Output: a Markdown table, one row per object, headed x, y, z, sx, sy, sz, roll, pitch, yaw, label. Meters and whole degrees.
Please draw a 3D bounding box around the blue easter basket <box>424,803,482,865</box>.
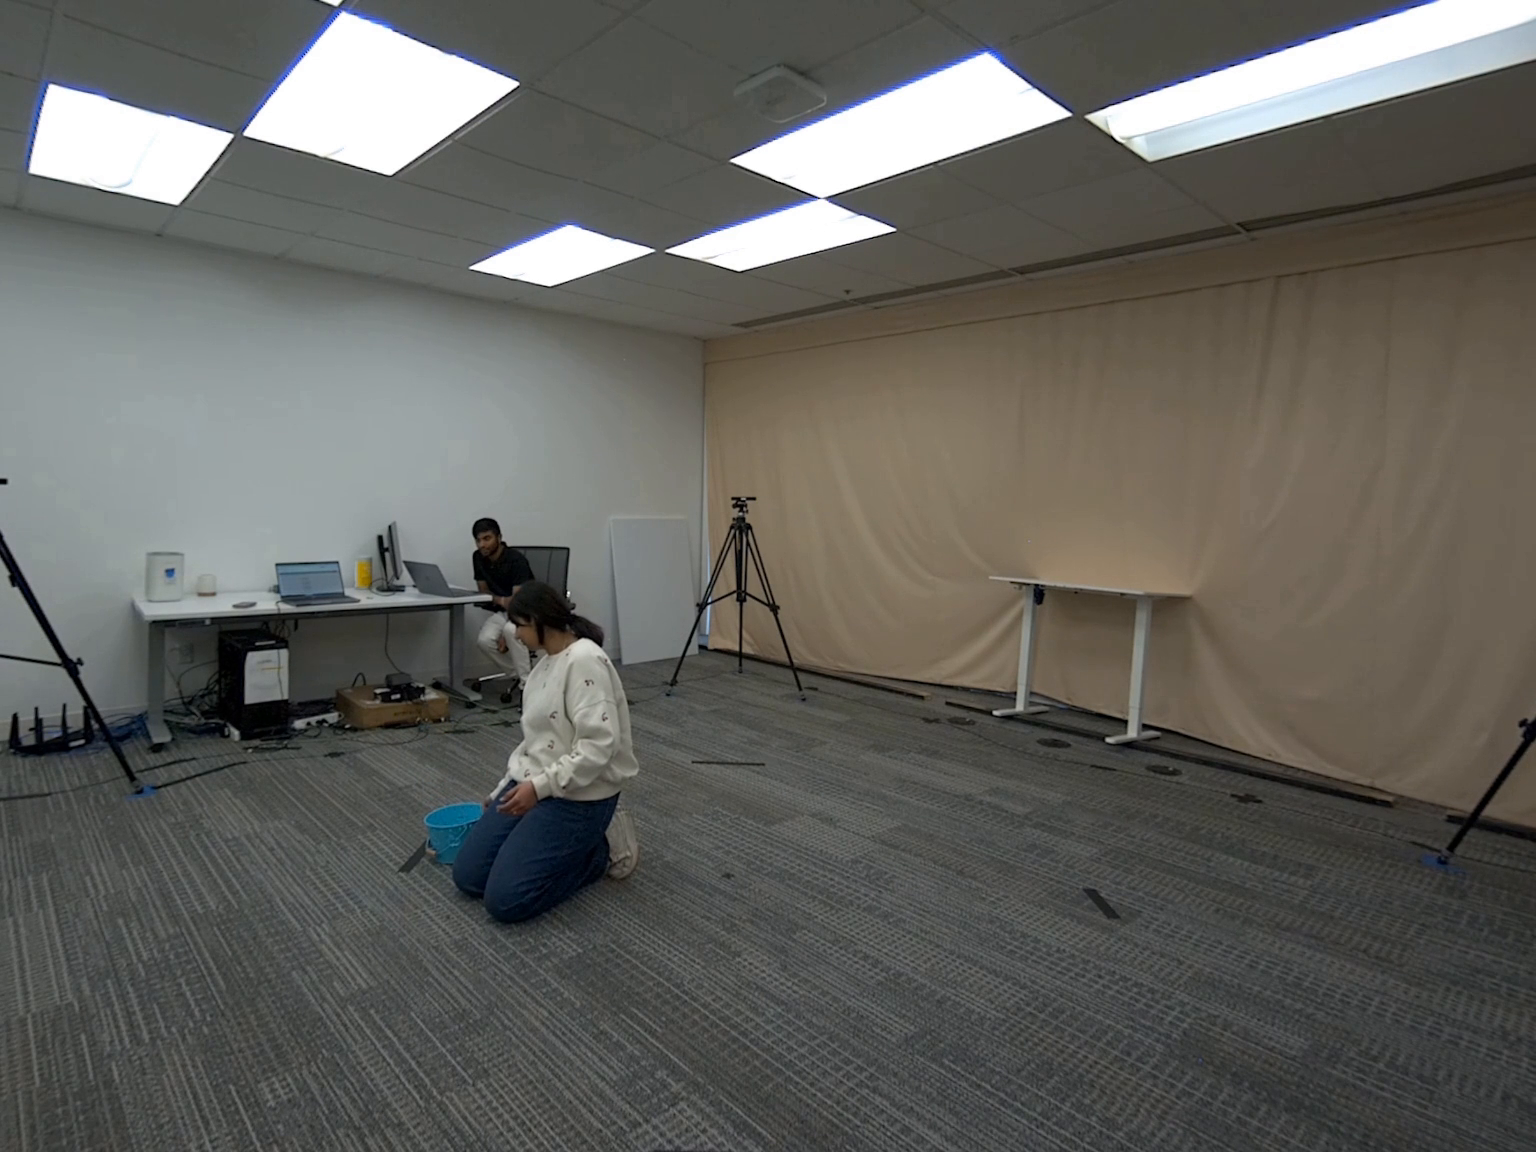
| x | y | z | sx | sy | sz | roll | pitch | yaw | label |
| --- | --- | --- | --- | --- | --- | --- | --- | --- | --- |
| -1.198 | 0.984 | 3.233 | 0.243 | 0.155 | 0.245 | -2 | 7 | -1 | blue easter basket |
